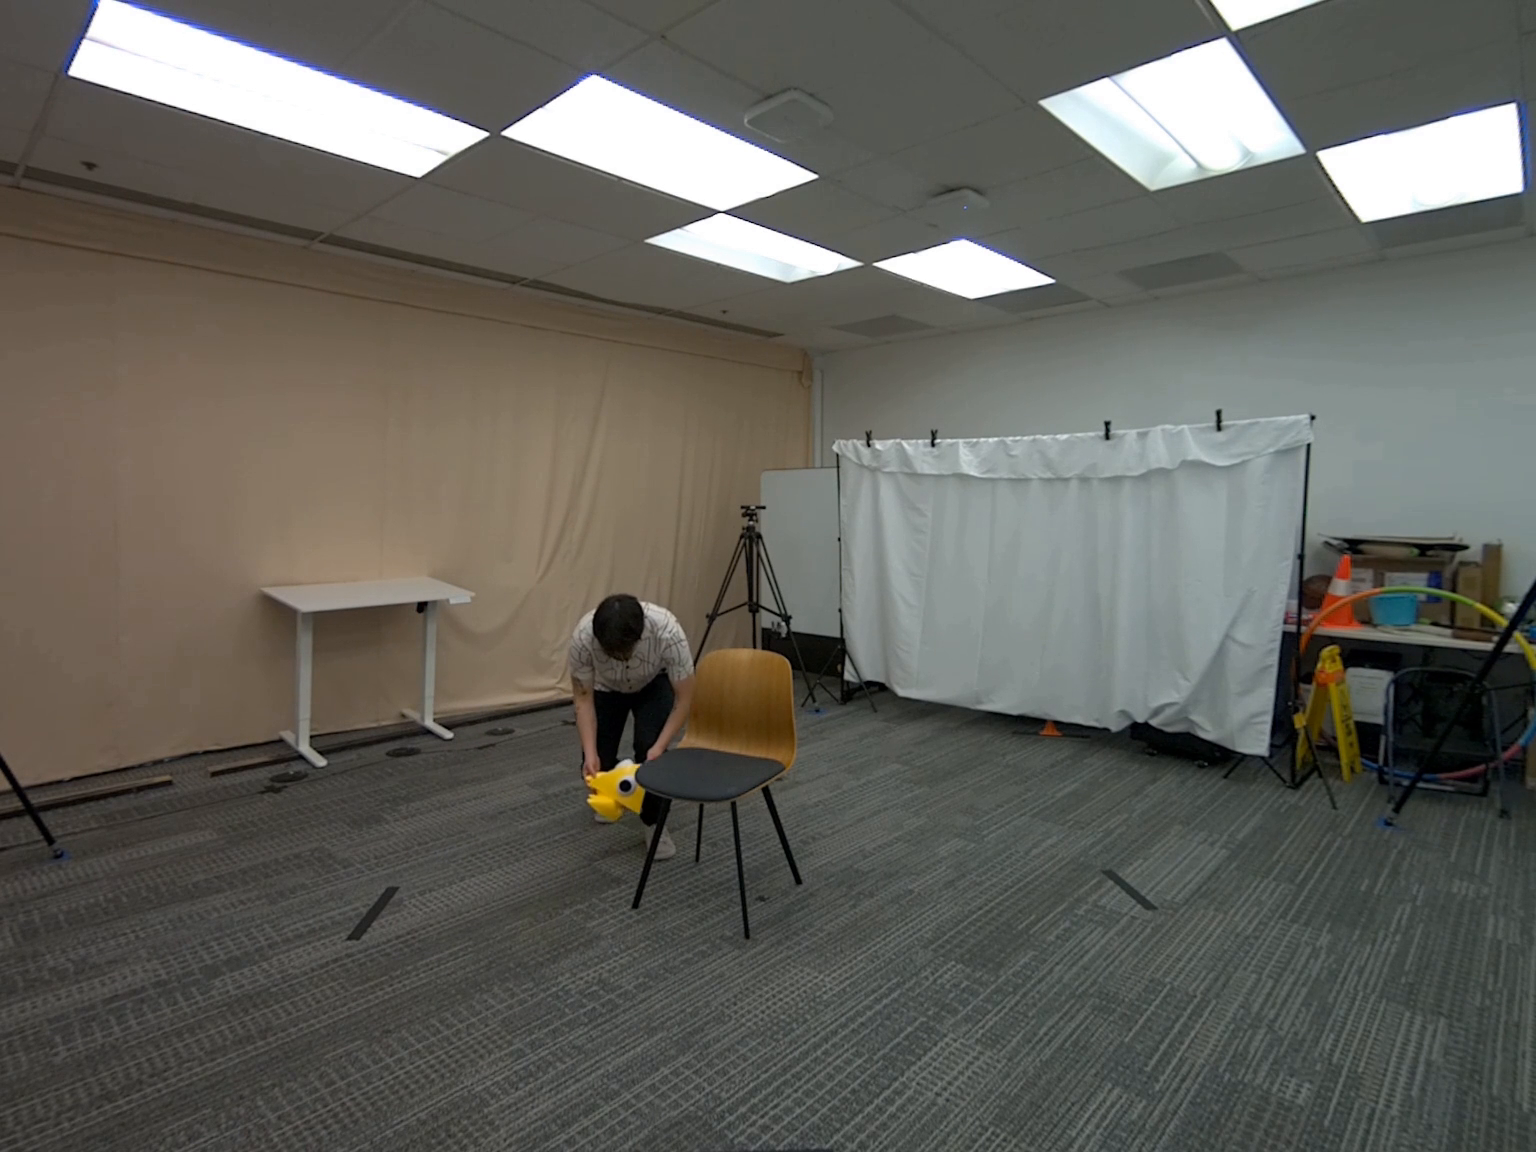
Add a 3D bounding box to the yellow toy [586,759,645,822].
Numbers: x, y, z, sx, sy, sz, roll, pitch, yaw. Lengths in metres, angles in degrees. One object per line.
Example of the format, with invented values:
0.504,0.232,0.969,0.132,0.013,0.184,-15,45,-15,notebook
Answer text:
-0.542,0.763,3.196,0.188,0.231,0.210,37,12,-25,yellow toy
